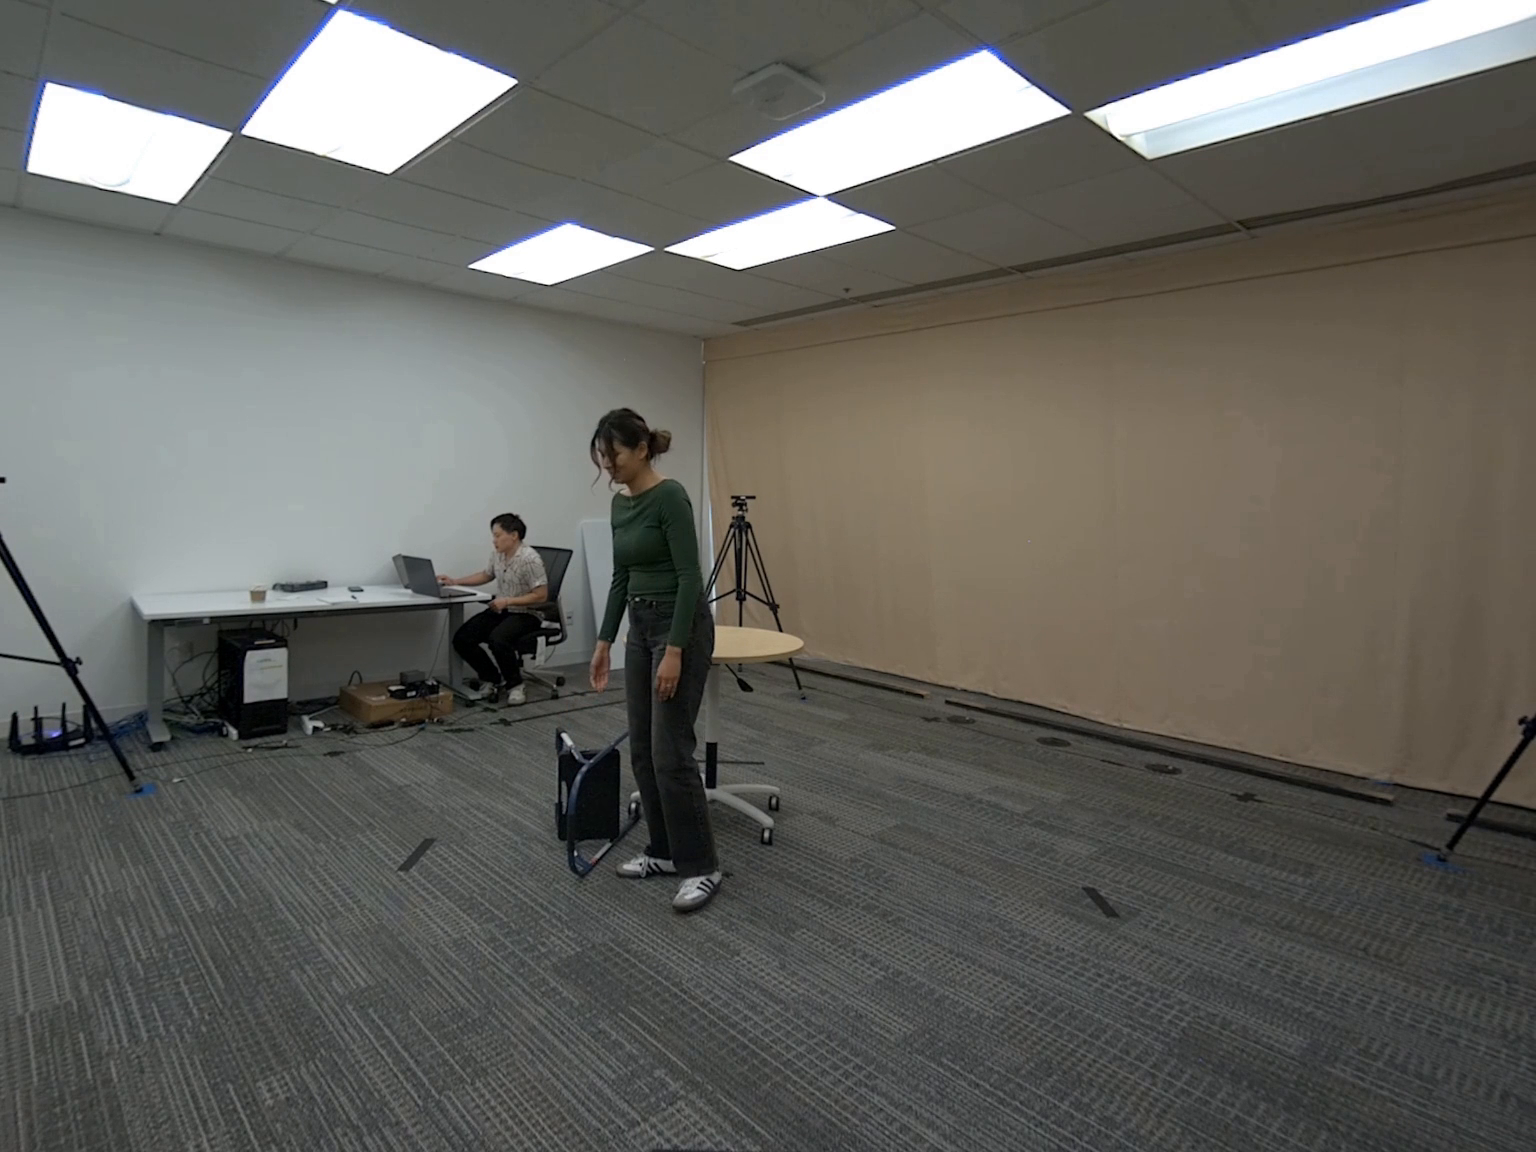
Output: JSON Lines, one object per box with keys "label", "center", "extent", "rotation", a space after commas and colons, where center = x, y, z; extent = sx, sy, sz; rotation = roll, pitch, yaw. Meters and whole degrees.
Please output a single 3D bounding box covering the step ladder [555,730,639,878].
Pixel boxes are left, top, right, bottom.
{"label": "step ladder", "center": [-0.672, 0.862, 3.253], "extent": [0.347, 0.429, 0.612], "rotation": [-1, 6, -10]}
